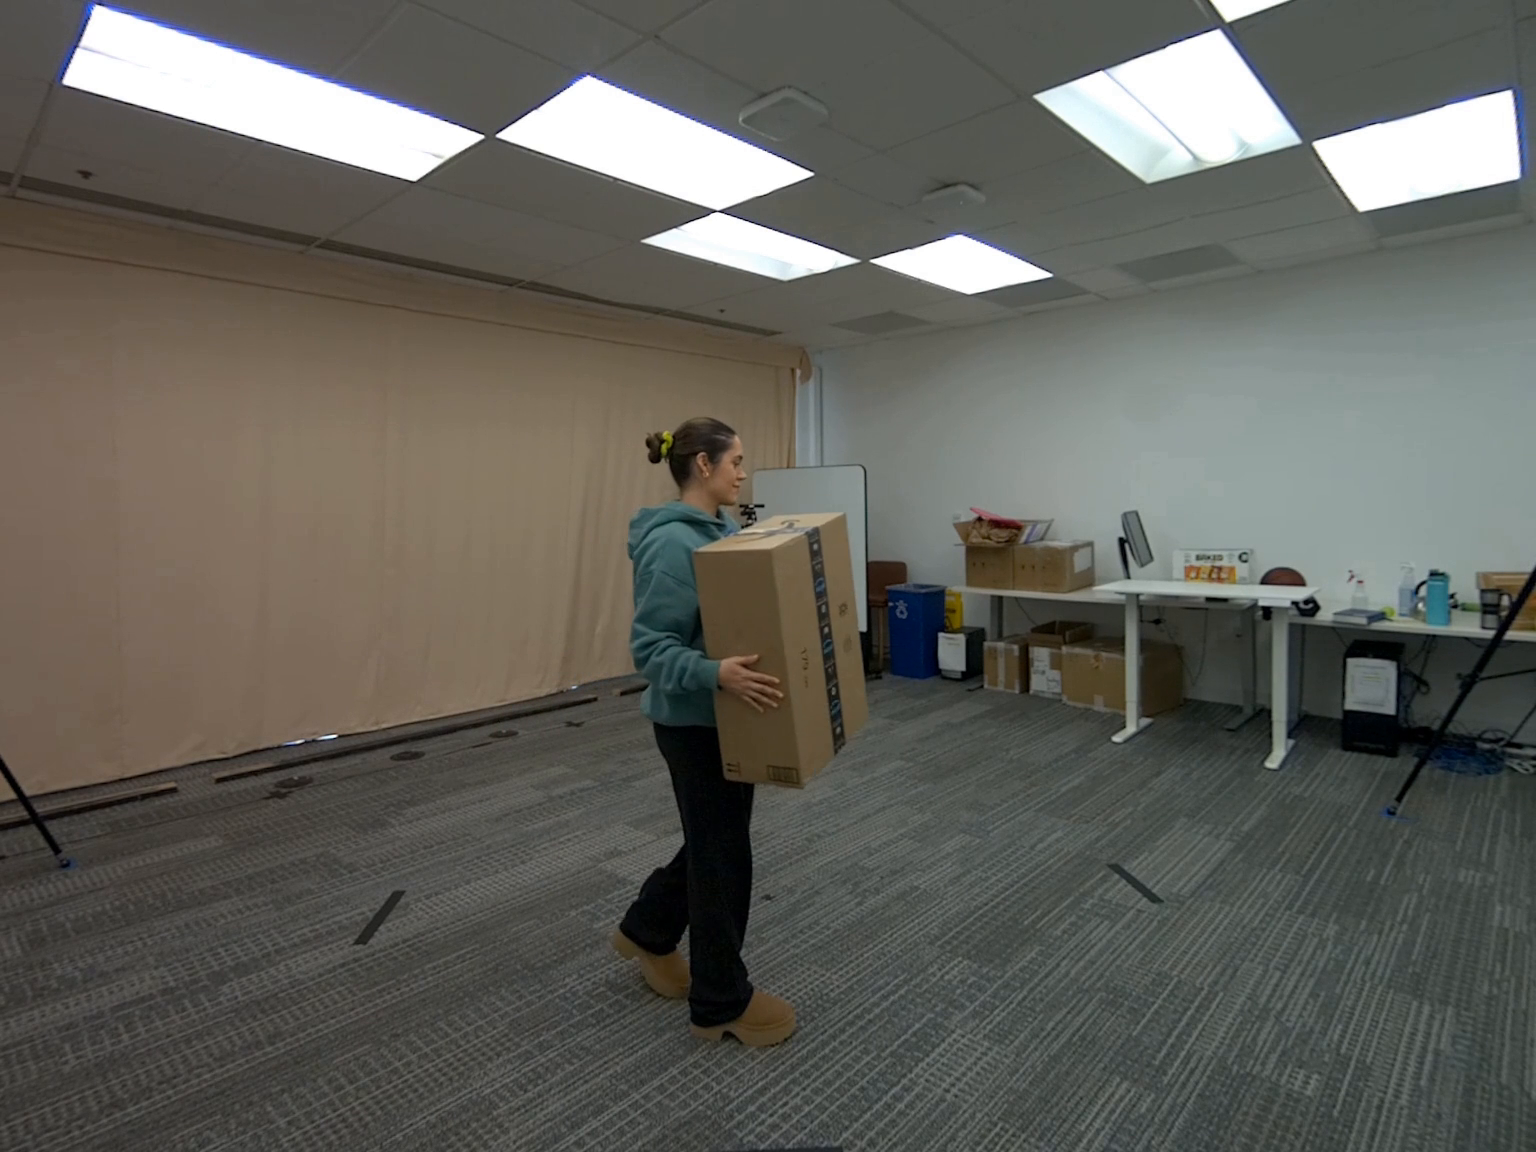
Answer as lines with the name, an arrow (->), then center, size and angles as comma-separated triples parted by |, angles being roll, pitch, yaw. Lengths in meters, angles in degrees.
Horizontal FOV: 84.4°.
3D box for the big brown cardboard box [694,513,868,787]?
big brown cardboard box -> 0.045, 0.172, 2.101 | 0.240, 0.585, 0.409 | -1, 11, 31
